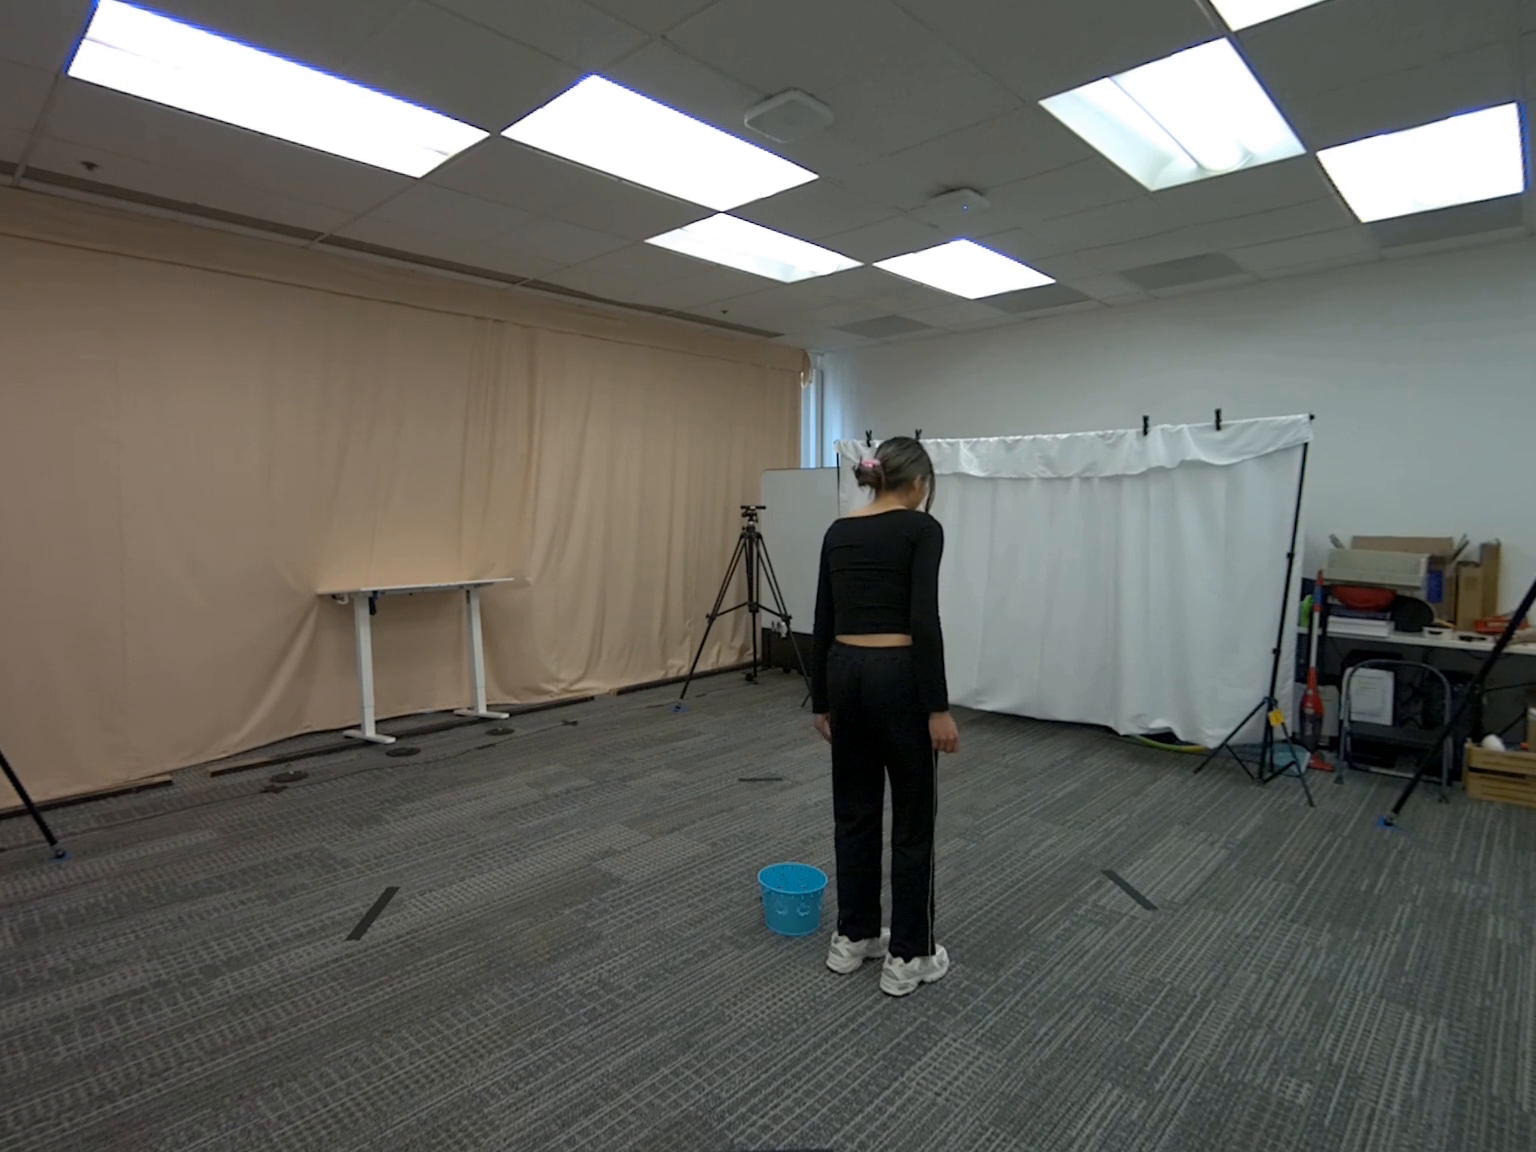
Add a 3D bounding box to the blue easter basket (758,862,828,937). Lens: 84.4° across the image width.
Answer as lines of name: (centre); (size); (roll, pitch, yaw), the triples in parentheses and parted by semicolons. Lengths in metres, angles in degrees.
blue easter basket: (0.087, 1.081, 2.818); (0.243, 0.155, 0.244); (0, 5, -2)
